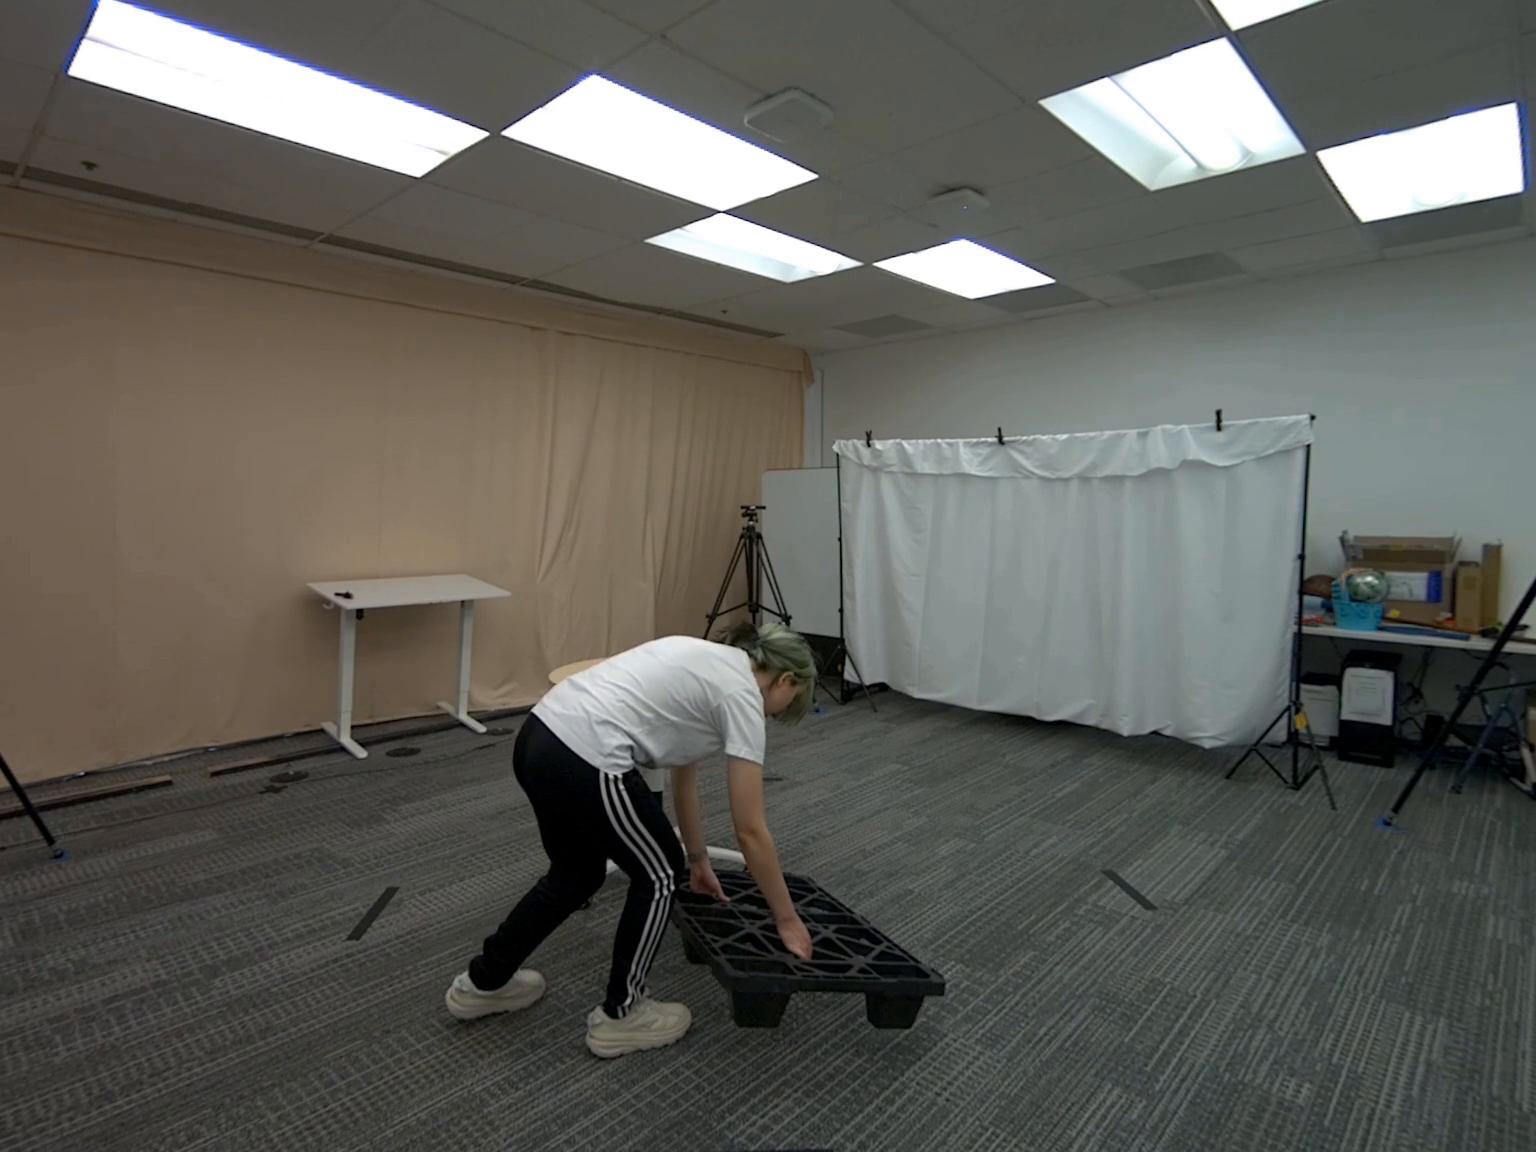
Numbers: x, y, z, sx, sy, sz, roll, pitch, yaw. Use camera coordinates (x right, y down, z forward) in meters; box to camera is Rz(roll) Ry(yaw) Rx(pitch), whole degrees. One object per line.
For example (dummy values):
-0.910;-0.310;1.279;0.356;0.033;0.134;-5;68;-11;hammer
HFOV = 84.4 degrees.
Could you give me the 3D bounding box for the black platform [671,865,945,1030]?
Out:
0.013;1.009;2.334;0.591;0.143;0.823;11;-4;-22;black platform
